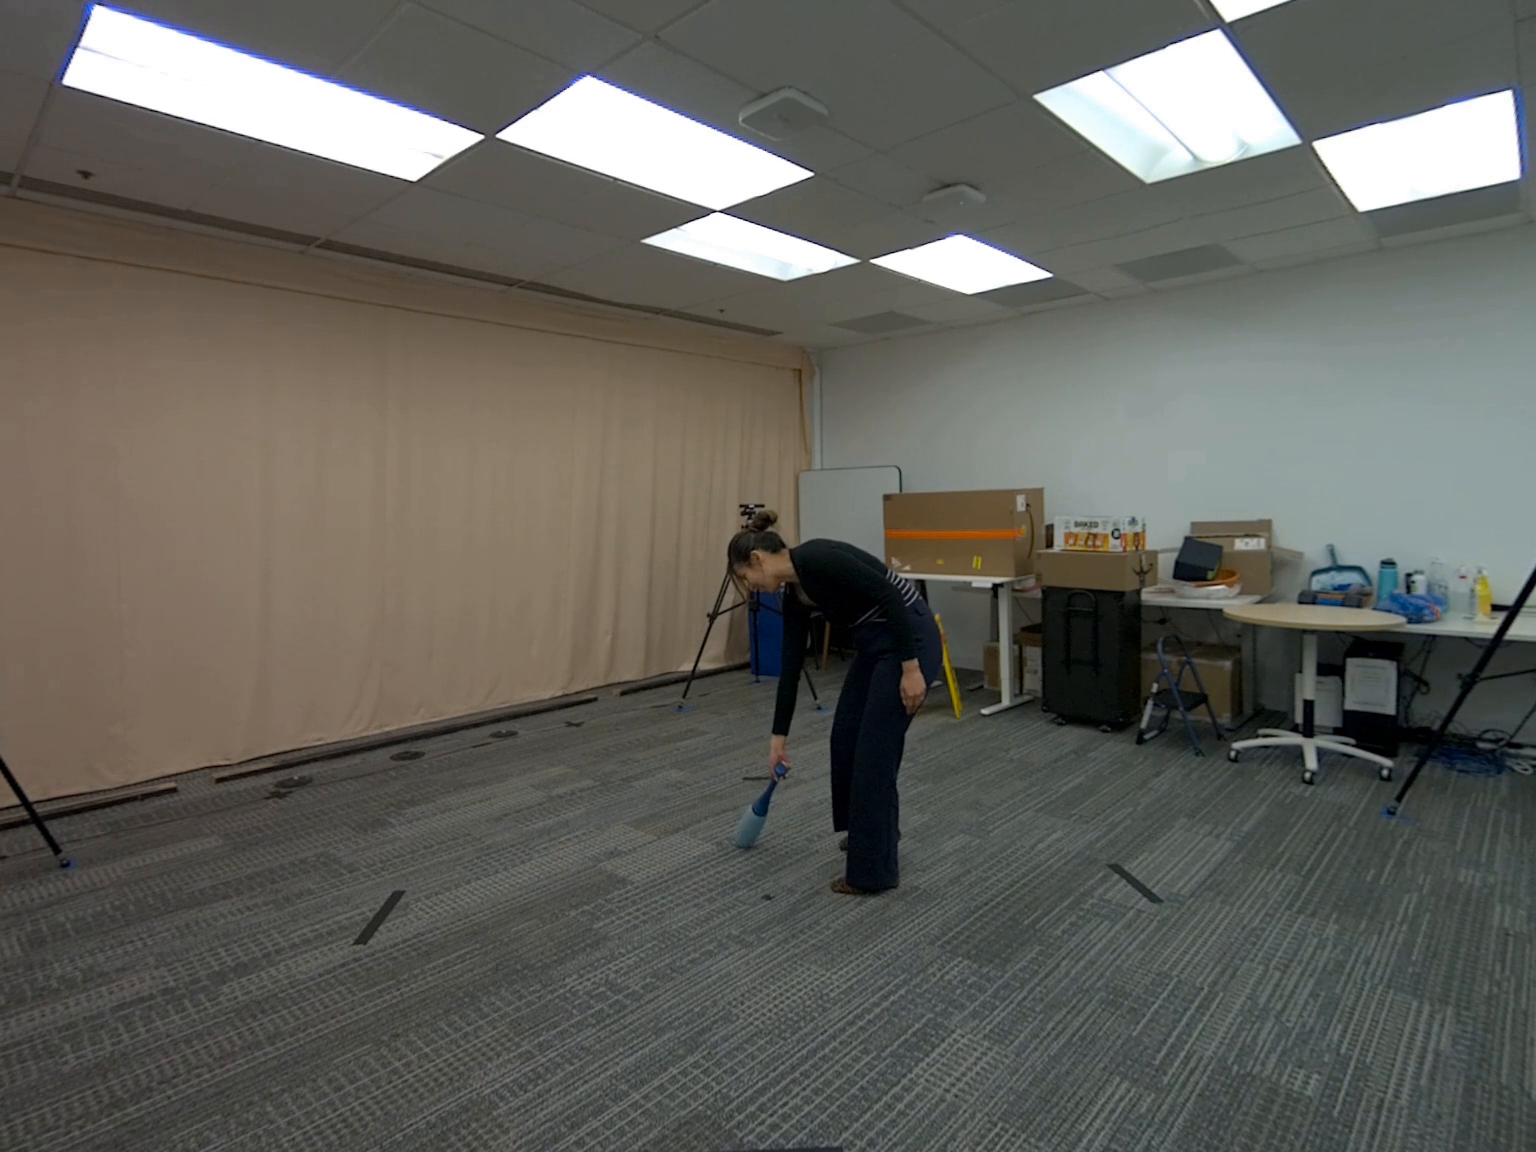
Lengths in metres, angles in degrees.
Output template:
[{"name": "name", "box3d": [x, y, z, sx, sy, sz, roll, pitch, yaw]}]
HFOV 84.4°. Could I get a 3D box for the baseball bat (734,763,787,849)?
[{"name": "baseball bat", "box3d": [-0.015, 0.901, 3.274, 0.088, 0.540, 0.091, 11, 44, -13]}]
